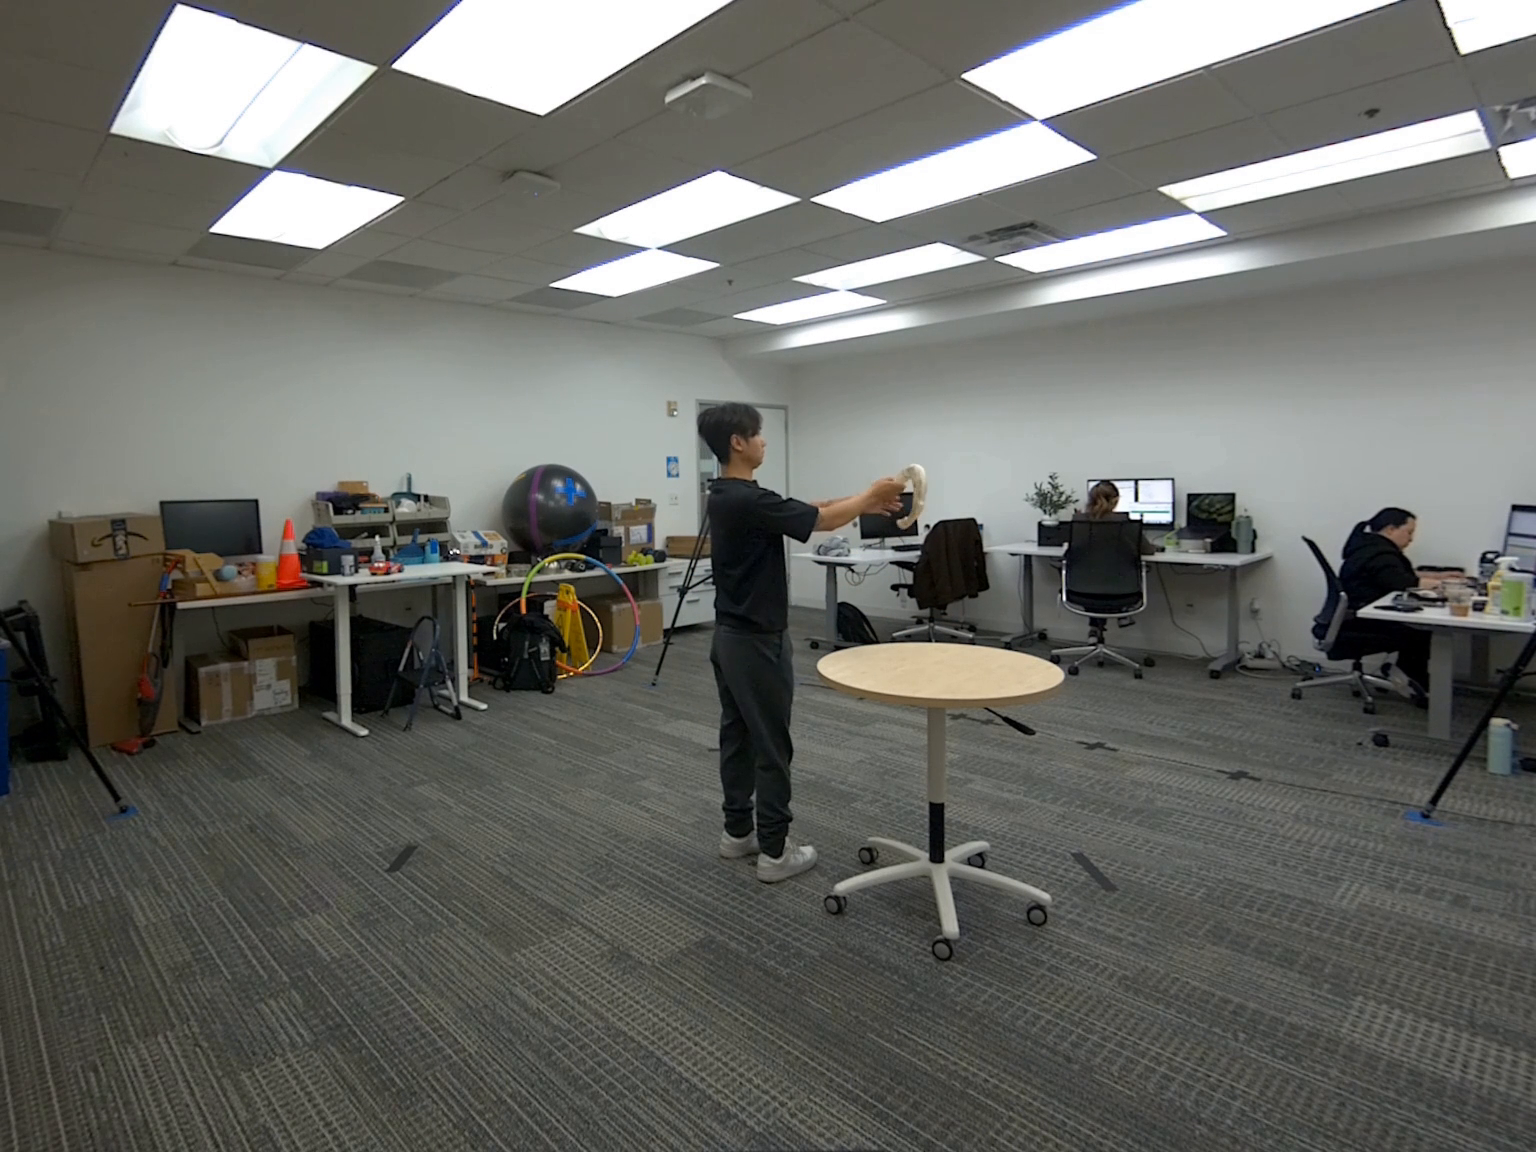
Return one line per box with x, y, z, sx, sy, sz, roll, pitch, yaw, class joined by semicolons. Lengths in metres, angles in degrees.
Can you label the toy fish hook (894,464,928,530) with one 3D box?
0.459;-0.278;3.128;0.047;0.225;0.512;13;-5;-14;toy fish hook
